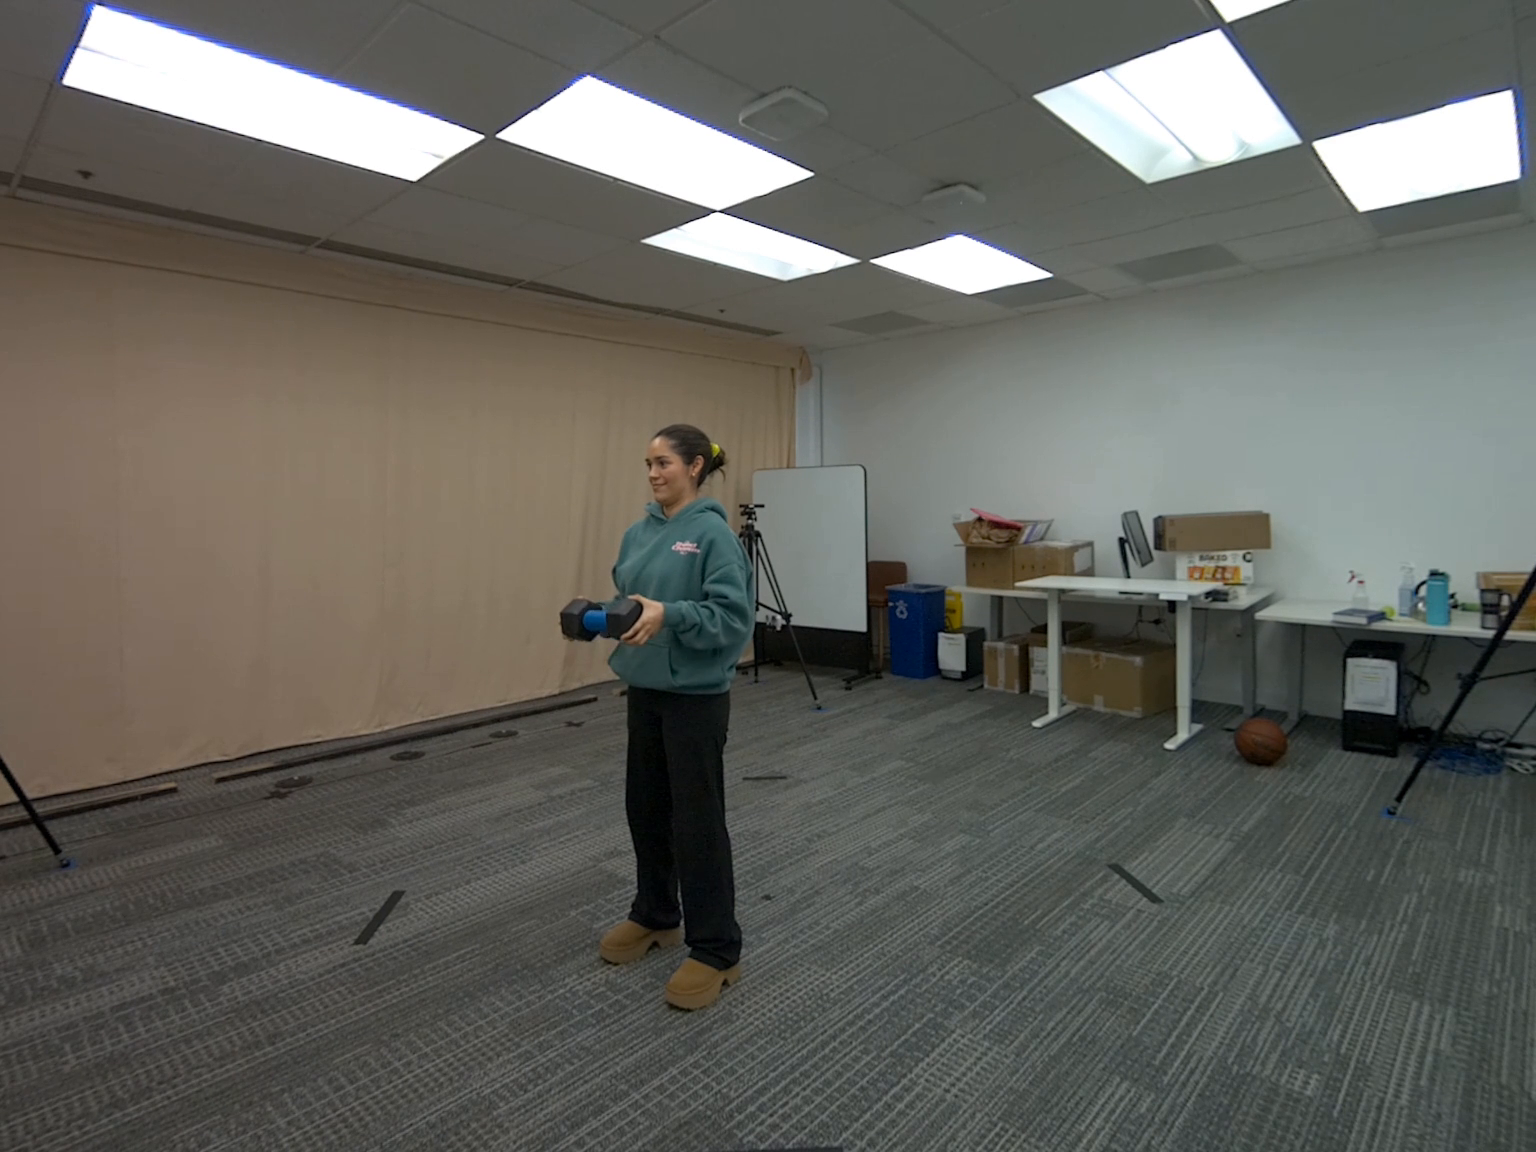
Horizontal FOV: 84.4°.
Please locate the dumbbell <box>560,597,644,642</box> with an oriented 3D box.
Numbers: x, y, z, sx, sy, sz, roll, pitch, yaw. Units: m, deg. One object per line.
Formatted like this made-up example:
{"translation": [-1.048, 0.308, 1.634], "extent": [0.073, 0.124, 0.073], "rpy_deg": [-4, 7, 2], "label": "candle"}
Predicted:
{"translation": [-0.437, 0.120, 2.333], "extent": [0.303, 0.106, 0.122], "rpy_deg": [-1, 39, 42], "label": "dumbbell"}
